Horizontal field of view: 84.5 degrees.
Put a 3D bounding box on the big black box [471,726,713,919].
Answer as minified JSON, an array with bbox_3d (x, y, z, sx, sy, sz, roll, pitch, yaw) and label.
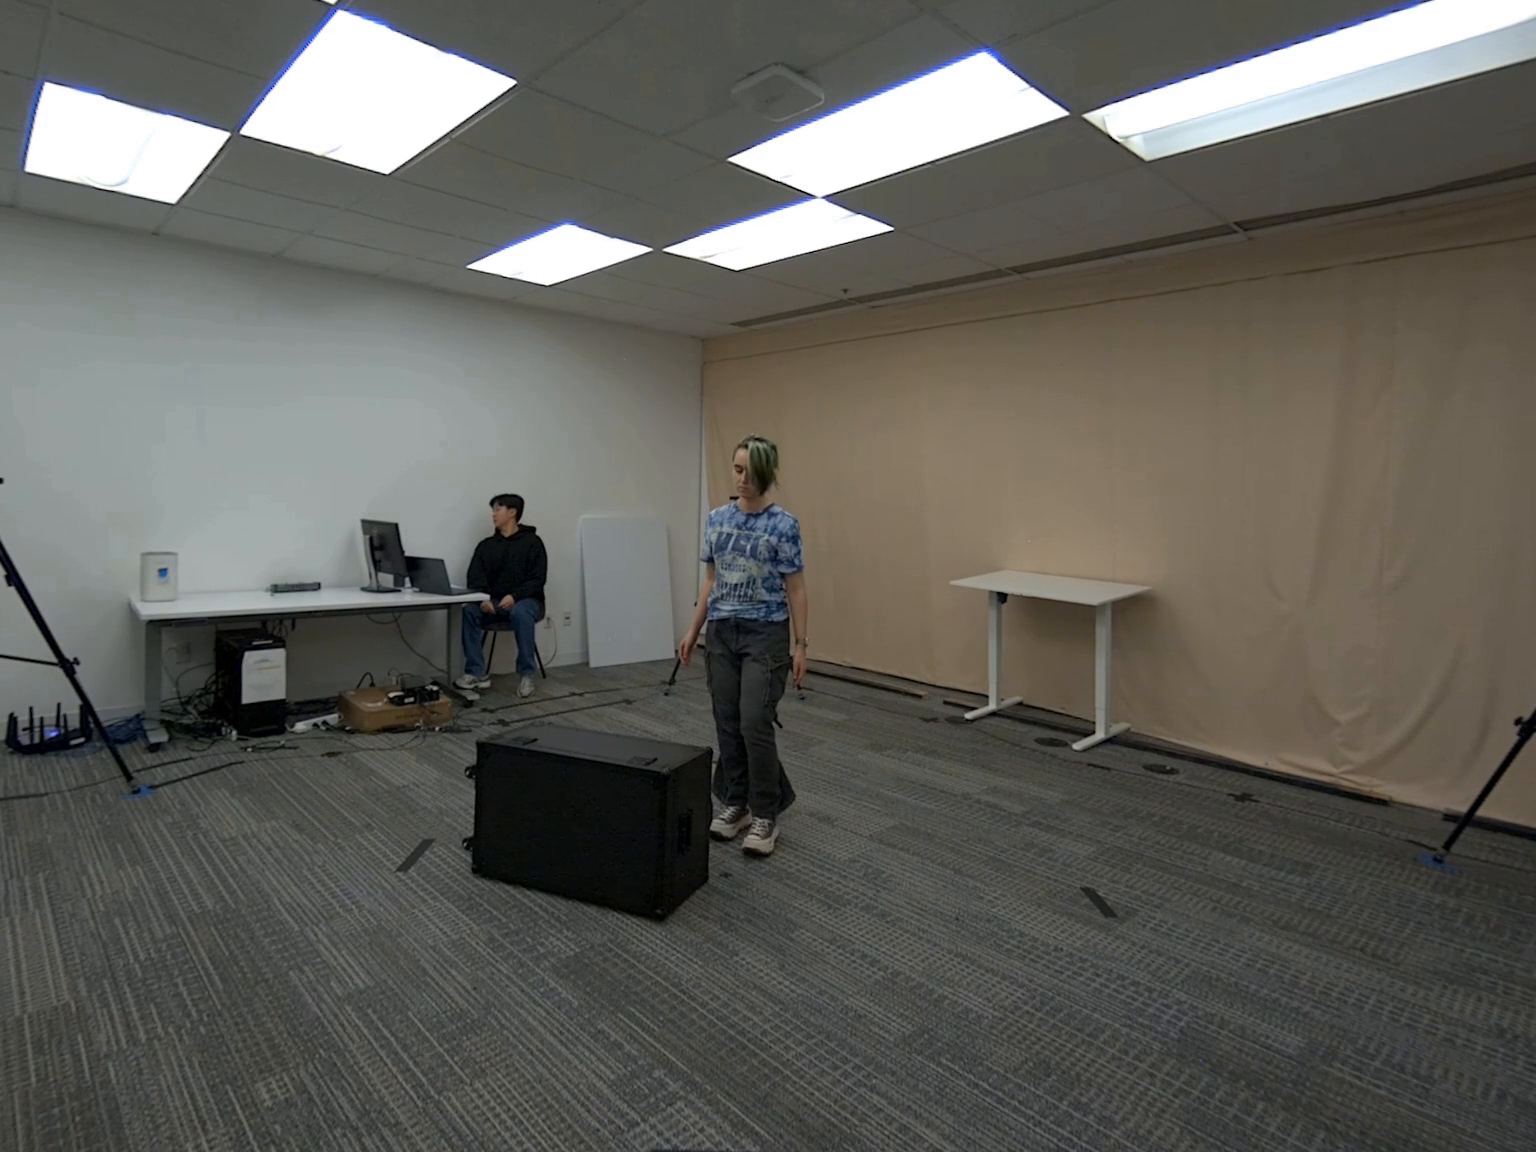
[{"bbox_3d":[-0.664,0.839,3.066,0.877,0.521,0.389,4,2,23],"label":"big black box"}]
